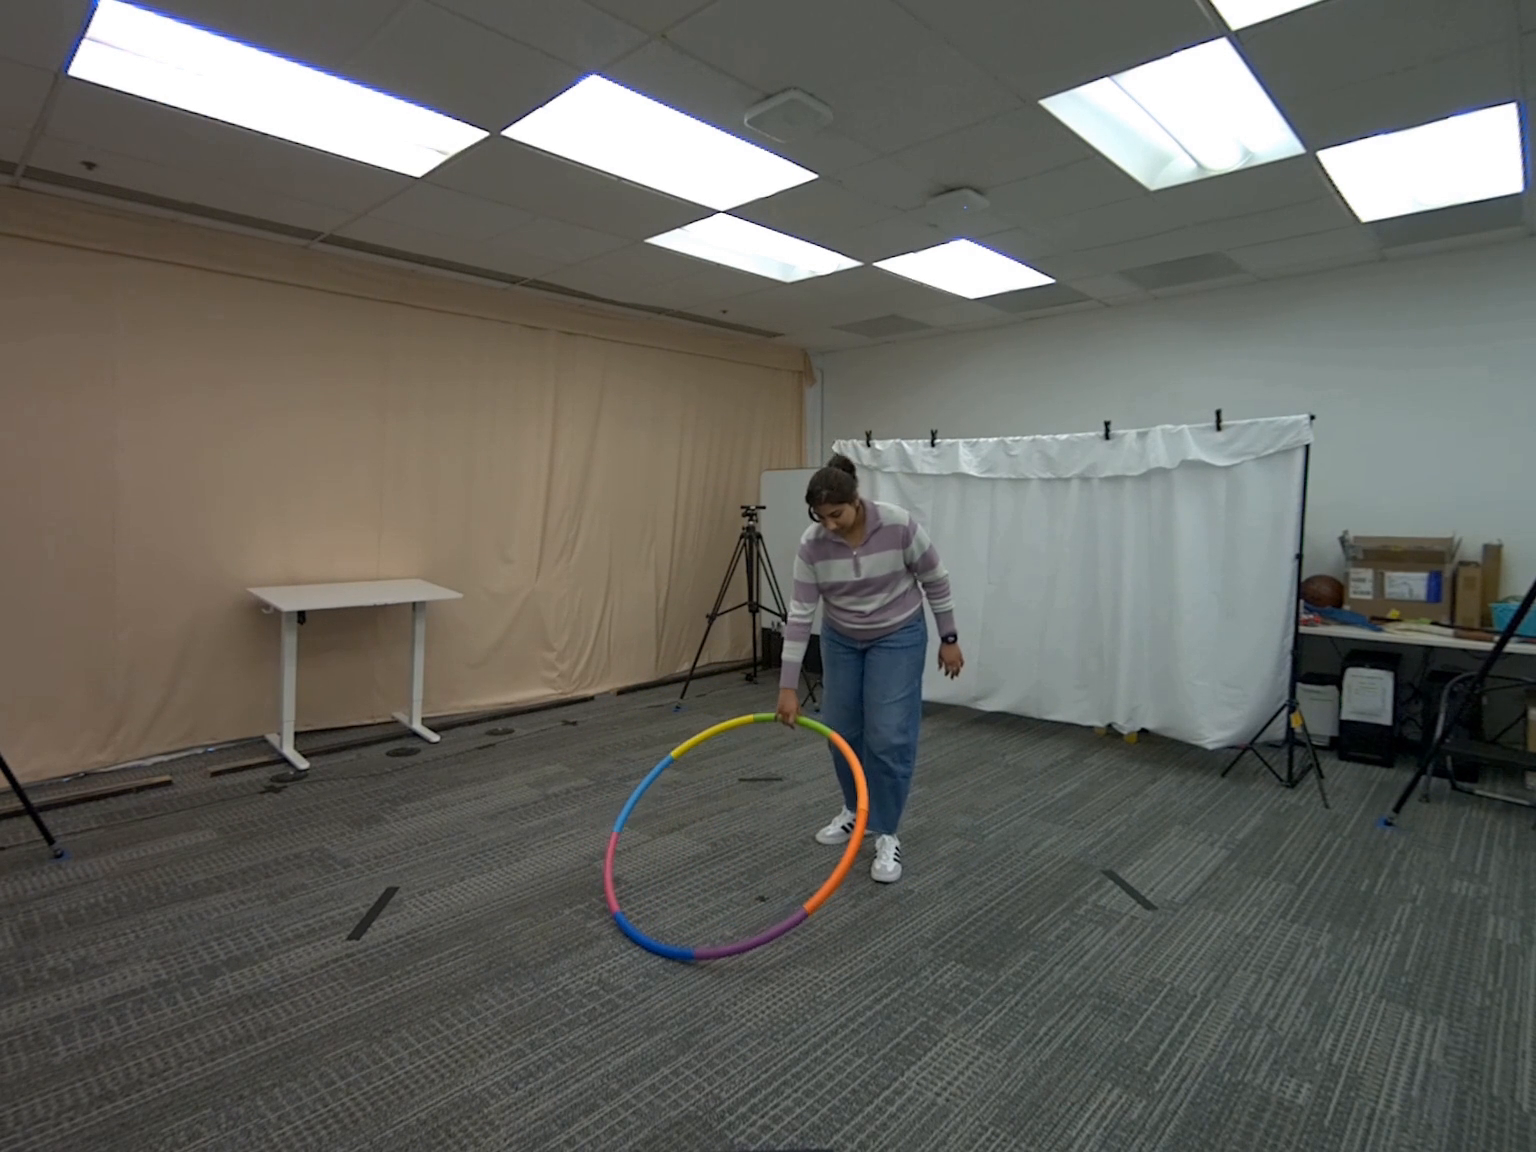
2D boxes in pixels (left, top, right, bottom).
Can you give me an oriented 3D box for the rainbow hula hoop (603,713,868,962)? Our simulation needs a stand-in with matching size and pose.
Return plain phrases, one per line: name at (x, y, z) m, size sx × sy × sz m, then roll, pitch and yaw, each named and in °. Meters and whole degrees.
rainbow hula hoop at (-0.121, 0.846, 2.911) m, size 0.995 × 0.050 × 1.003 m, roll -21°, pitch 32°, yaw 11°
